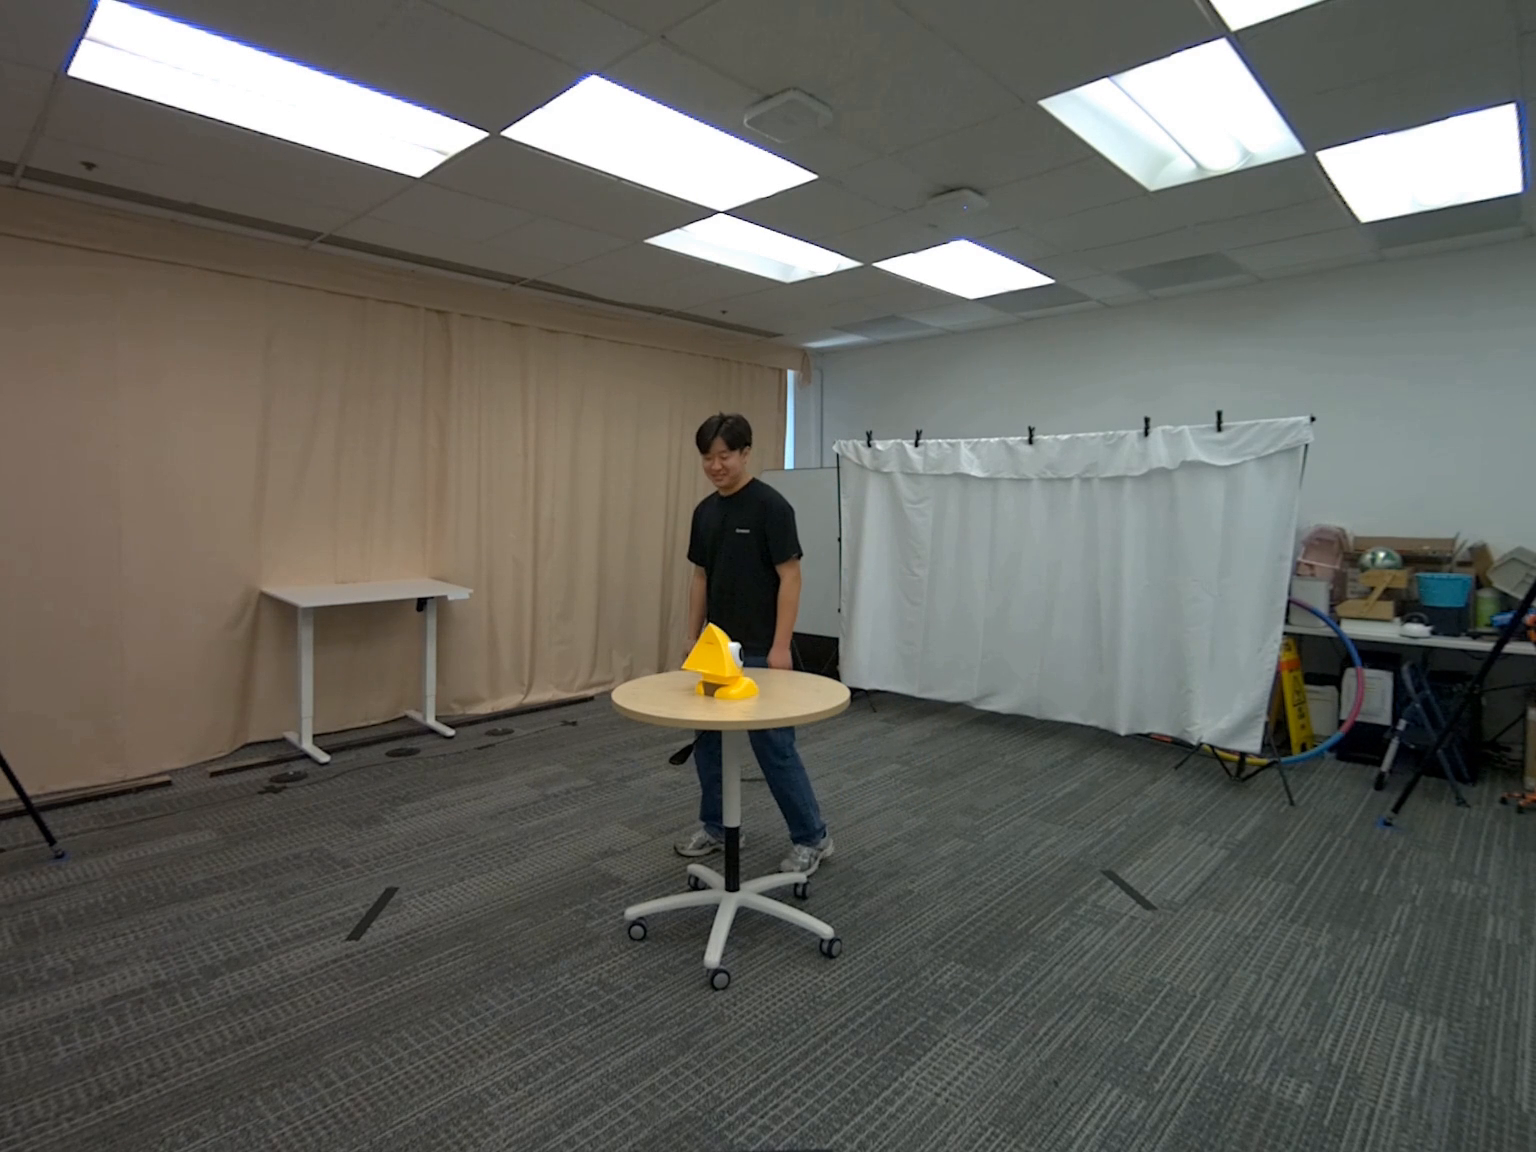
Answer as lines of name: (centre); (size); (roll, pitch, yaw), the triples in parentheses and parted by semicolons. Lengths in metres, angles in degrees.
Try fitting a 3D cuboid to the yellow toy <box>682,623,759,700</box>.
yellow toy: (-0.139, 0.258, 2.688); (0.211, 0.230, 0.187); (4, 5, 43)
